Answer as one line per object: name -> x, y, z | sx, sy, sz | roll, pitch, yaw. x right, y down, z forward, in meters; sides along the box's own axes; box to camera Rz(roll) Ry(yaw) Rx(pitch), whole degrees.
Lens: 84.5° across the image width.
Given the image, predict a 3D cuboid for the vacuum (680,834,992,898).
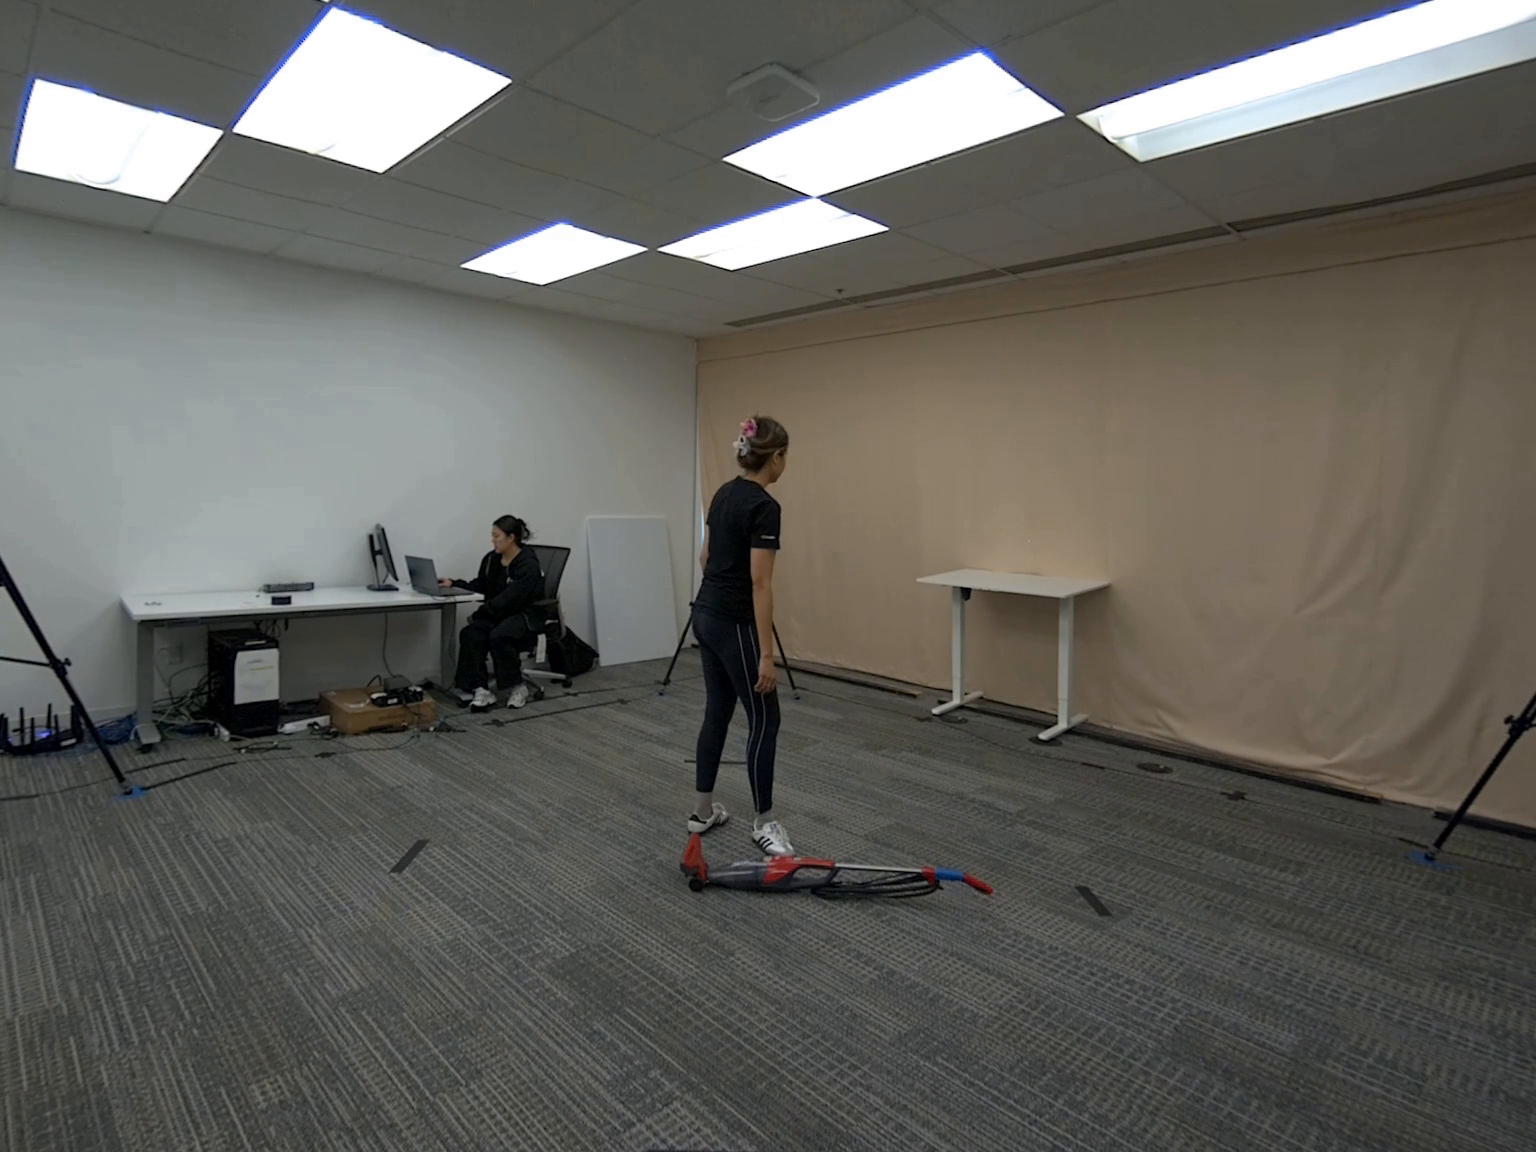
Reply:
vacuum -> 0.239, 1.066, 2.956 | 1.055, 0.143, 0.252 | 3, 7, 6
